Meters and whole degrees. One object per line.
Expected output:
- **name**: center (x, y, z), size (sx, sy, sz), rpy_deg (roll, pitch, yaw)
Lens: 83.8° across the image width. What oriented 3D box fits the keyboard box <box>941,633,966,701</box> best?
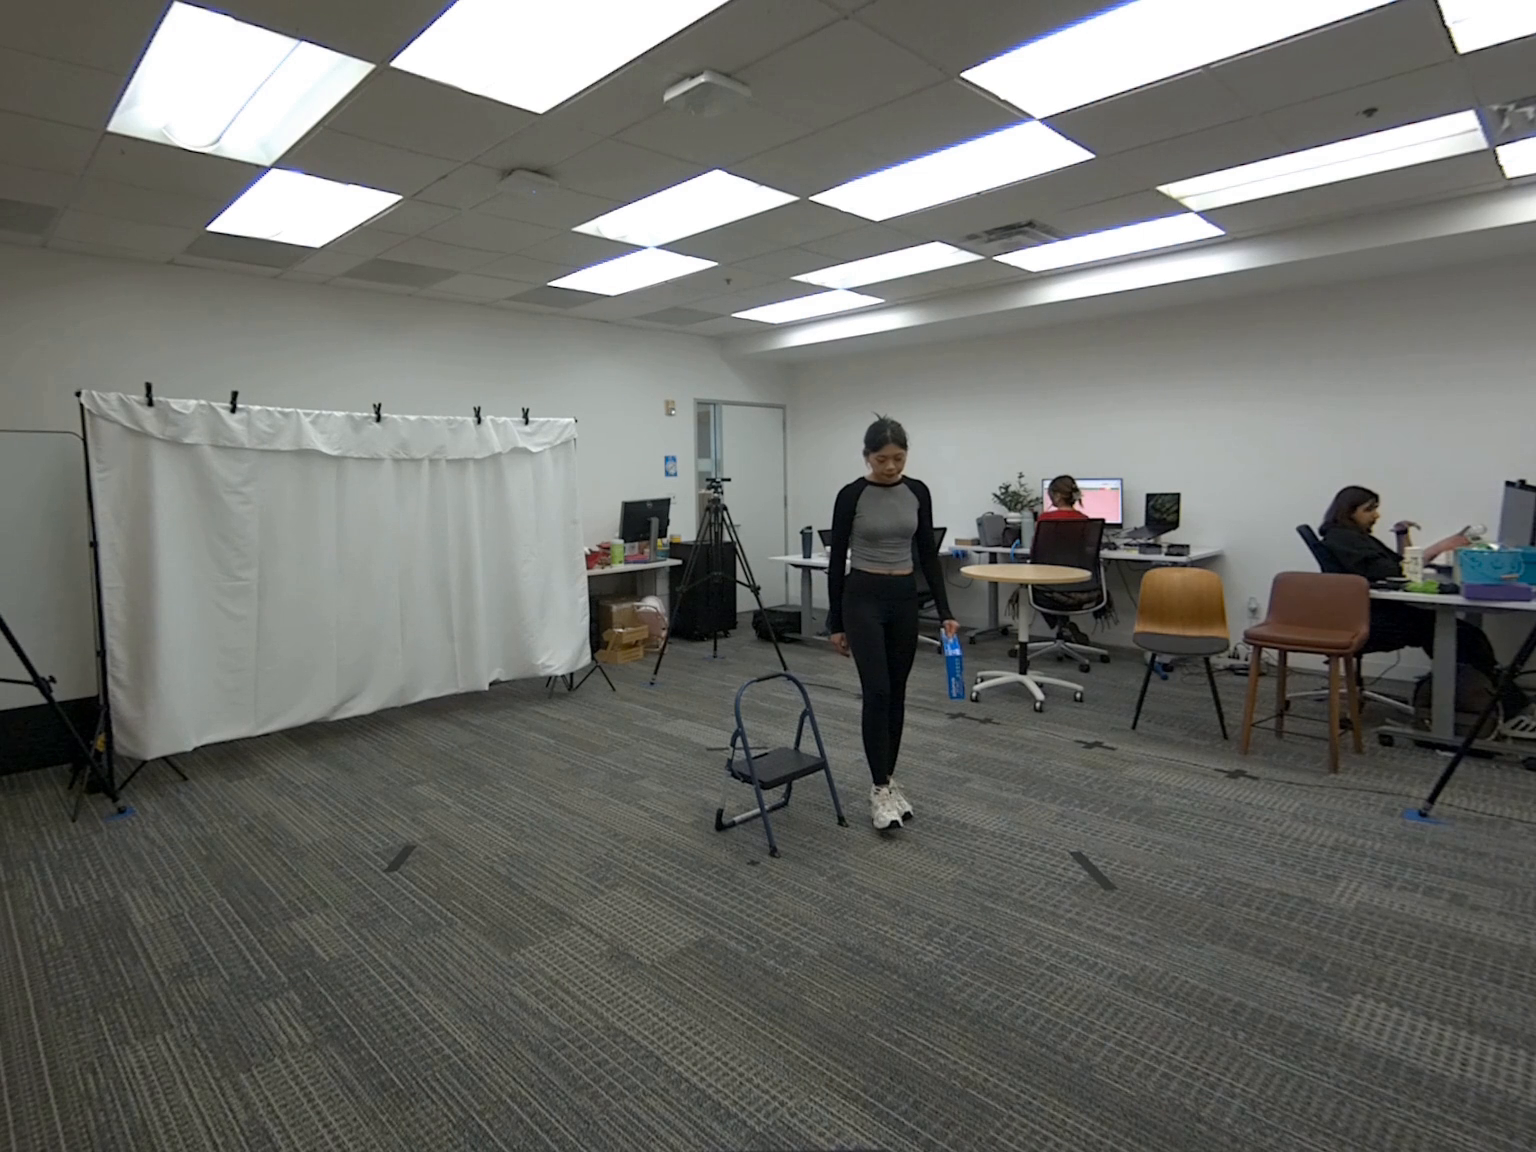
- **keyboard box**: center (0.730, 0.338, 3.425), size (0.060, 0.174, 0.437), rpy_deg (-5, 11, 9)
